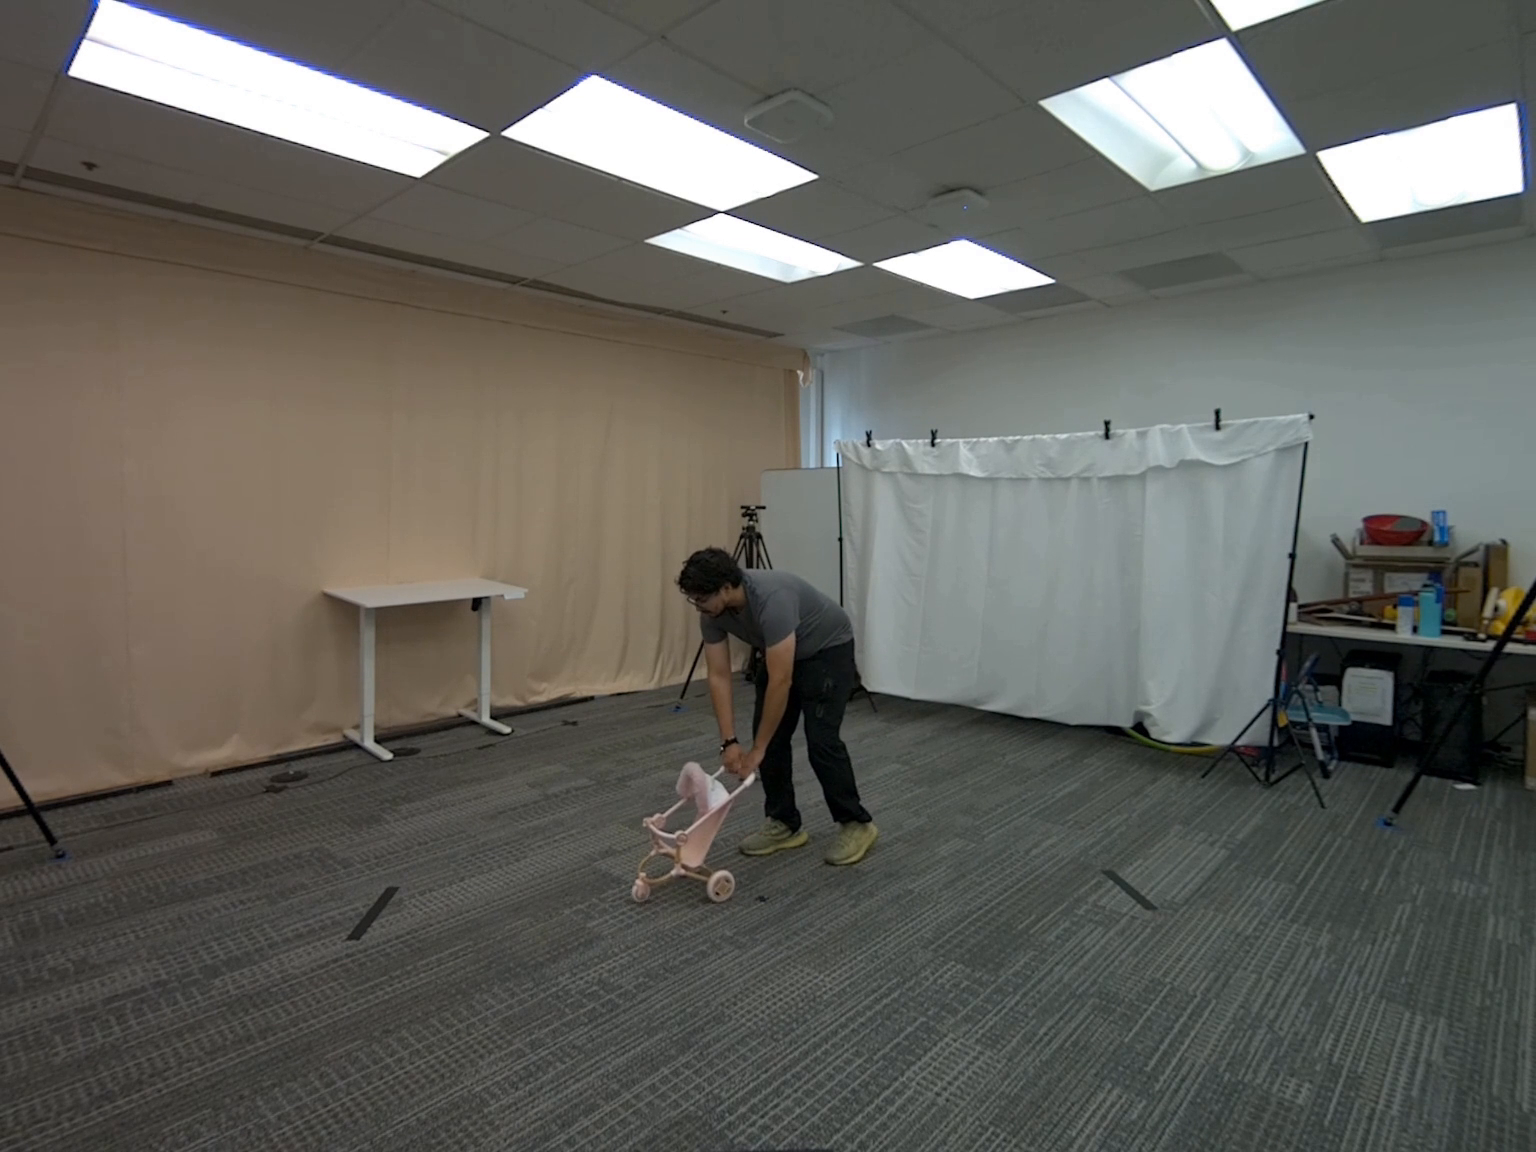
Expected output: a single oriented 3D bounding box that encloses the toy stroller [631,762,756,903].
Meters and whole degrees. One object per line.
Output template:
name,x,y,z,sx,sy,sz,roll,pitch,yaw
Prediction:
toy stroller,-0.280,0.915,3.041,0.332,0.535,0.288,17,-4,-24
